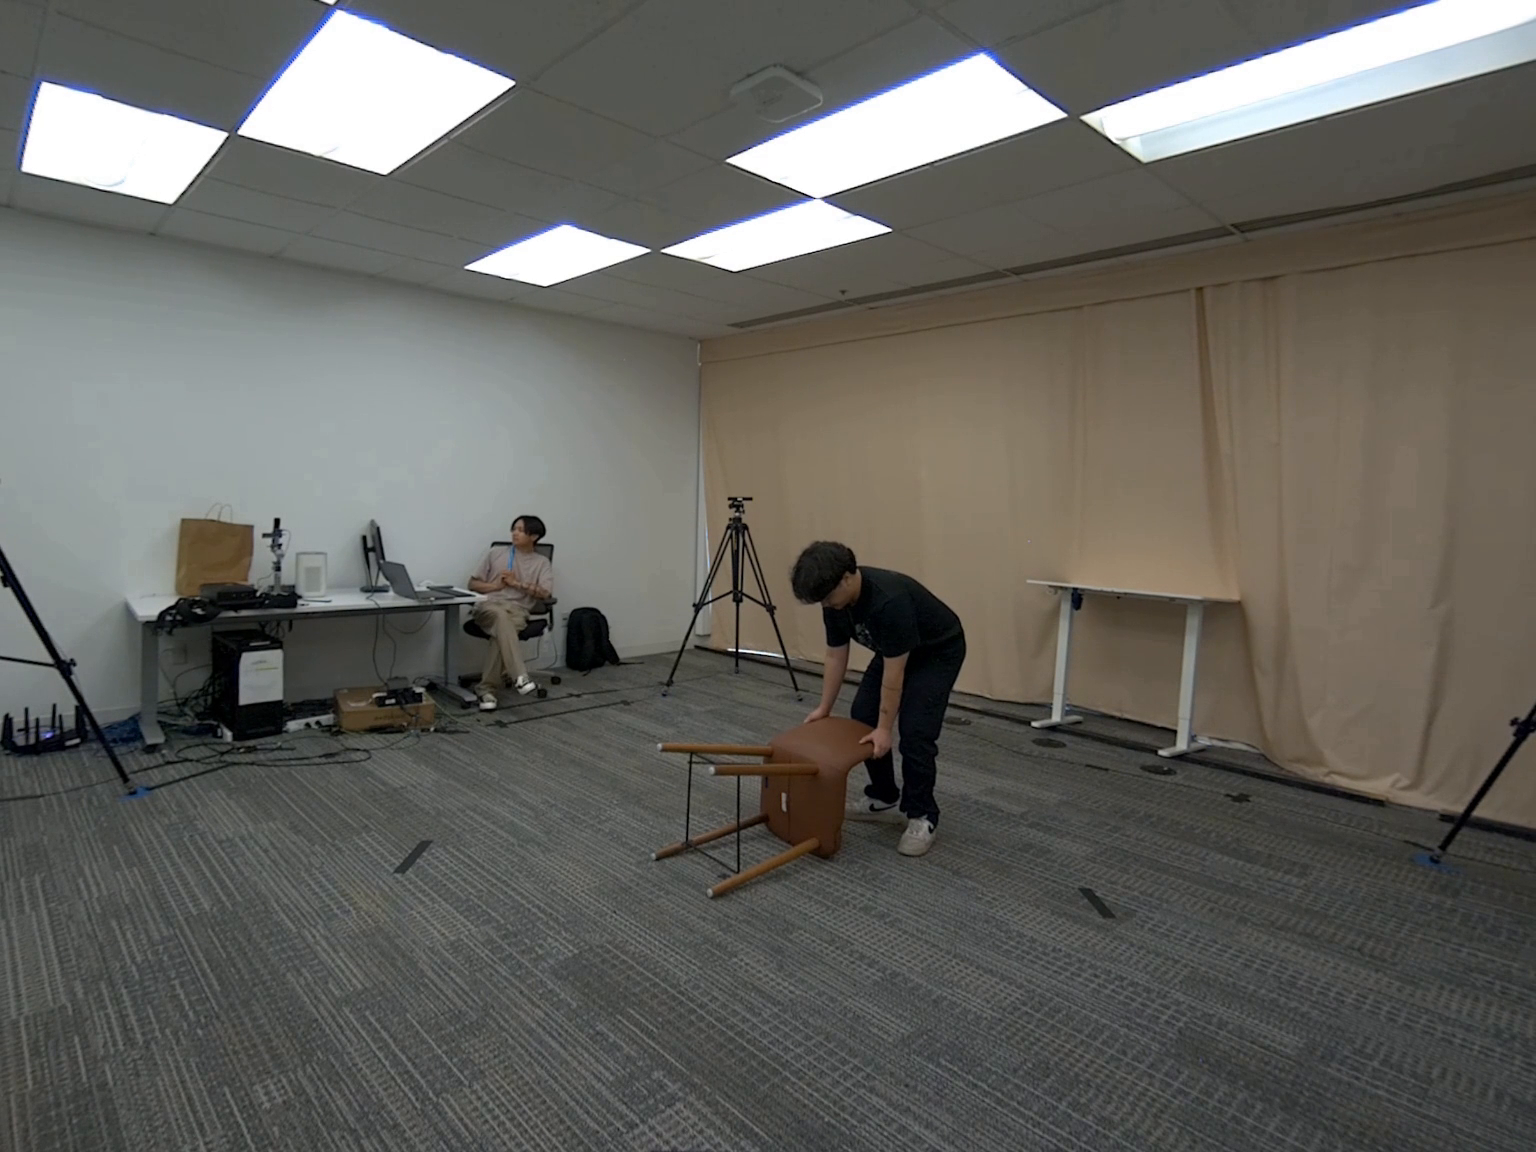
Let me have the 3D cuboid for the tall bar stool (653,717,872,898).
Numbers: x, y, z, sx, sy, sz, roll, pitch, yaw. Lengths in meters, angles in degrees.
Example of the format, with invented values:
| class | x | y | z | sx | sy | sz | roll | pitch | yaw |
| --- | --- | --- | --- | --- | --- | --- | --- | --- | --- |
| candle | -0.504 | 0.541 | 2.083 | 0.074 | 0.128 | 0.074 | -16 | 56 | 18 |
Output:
| class | x | y | z | sx | sy | sz | roll | pitch | yaw |
| --- | --- | --- | --- | --- | --- | --- | --- | --- | --- |
| tall bar stool | 0.019 | 0.864 | 3.322 | 0.870 | 0.466 | 0.468 | -3 | 5 | -38 |
